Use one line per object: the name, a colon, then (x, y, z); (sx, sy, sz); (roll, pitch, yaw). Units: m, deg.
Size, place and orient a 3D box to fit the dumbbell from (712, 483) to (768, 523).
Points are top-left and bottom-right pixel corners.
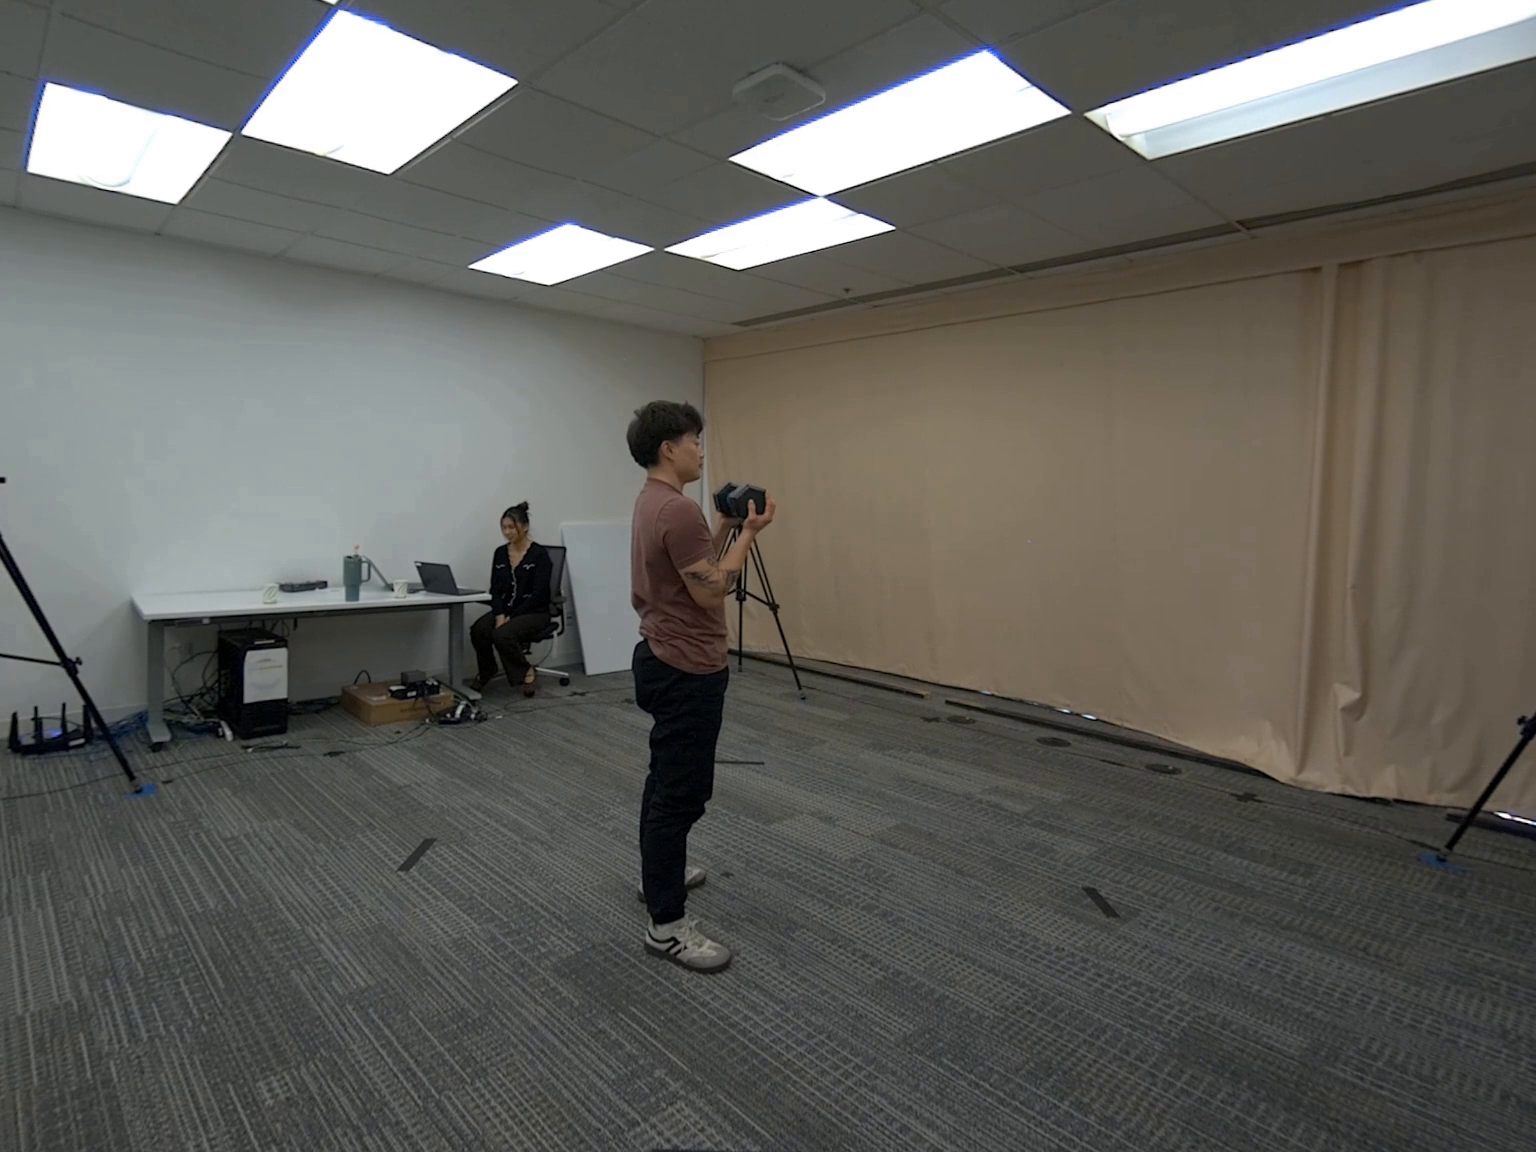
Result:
dumbbell: (-0.117, -0.242, 2.707); (0.123, 0.107, 0.297); (-38, 13, -2)
